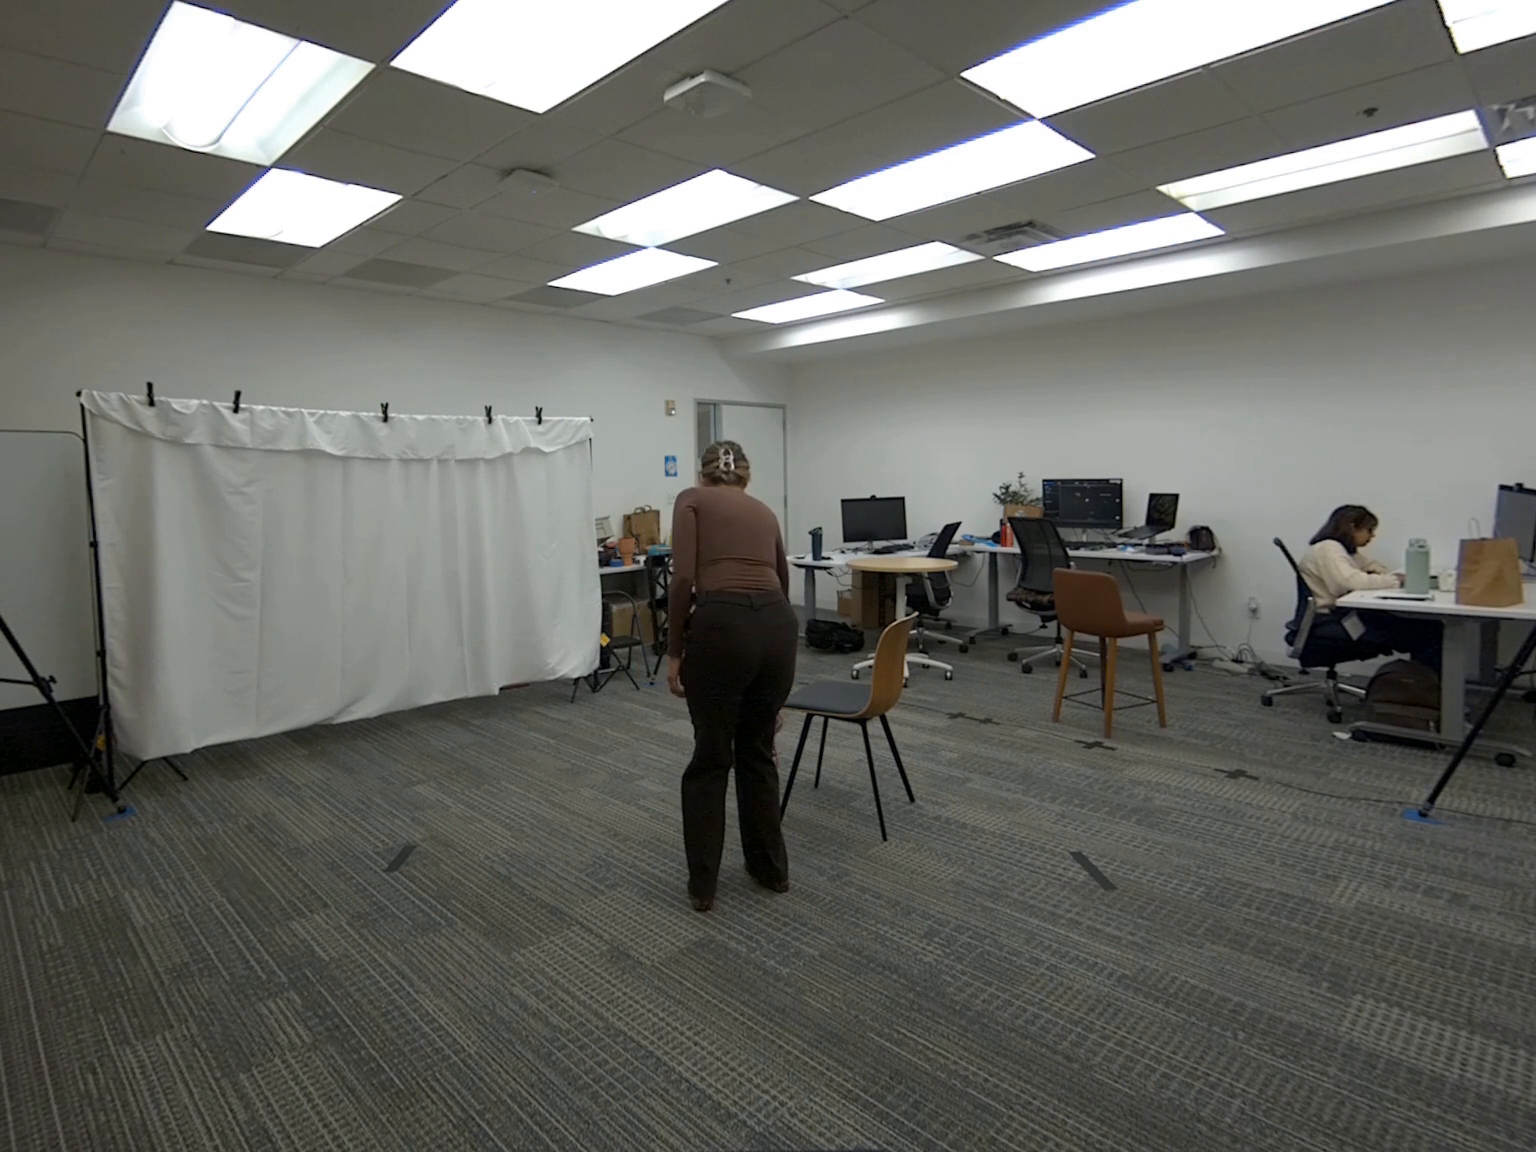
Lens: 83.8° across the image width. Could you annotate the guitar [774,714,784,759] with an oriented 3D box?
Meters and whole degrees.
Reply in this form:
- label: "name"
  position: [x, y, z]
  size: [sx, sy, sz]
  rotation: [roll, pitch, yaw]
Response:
- label: "guitar"
  position: [0.033, 0.521, 3.225]
  size: [0.196, 0.499, 0.069]
  rotation: [21, -7, 12]
